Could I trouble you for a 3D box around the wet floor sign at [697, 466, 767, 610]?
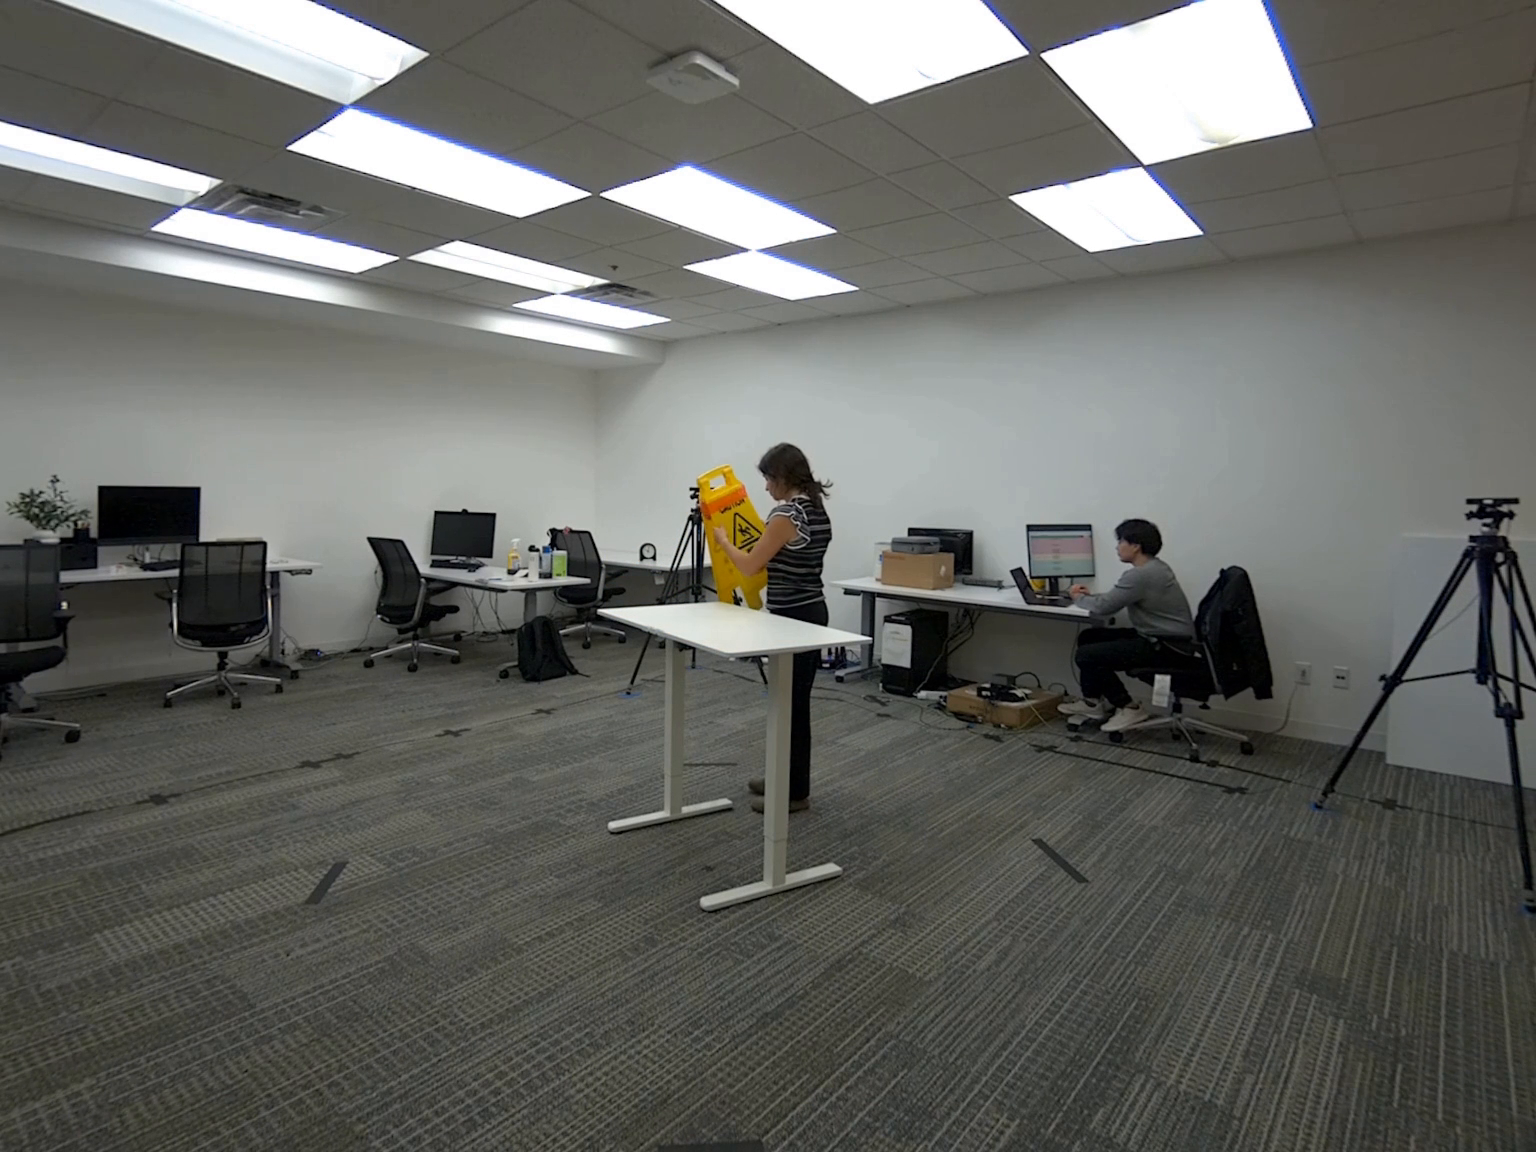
[{"bbox_3d":[-0.160,-0.192,3.953,0.278,0.637,0.298,-28,14,-34],"label":"wet floor sign"}]
